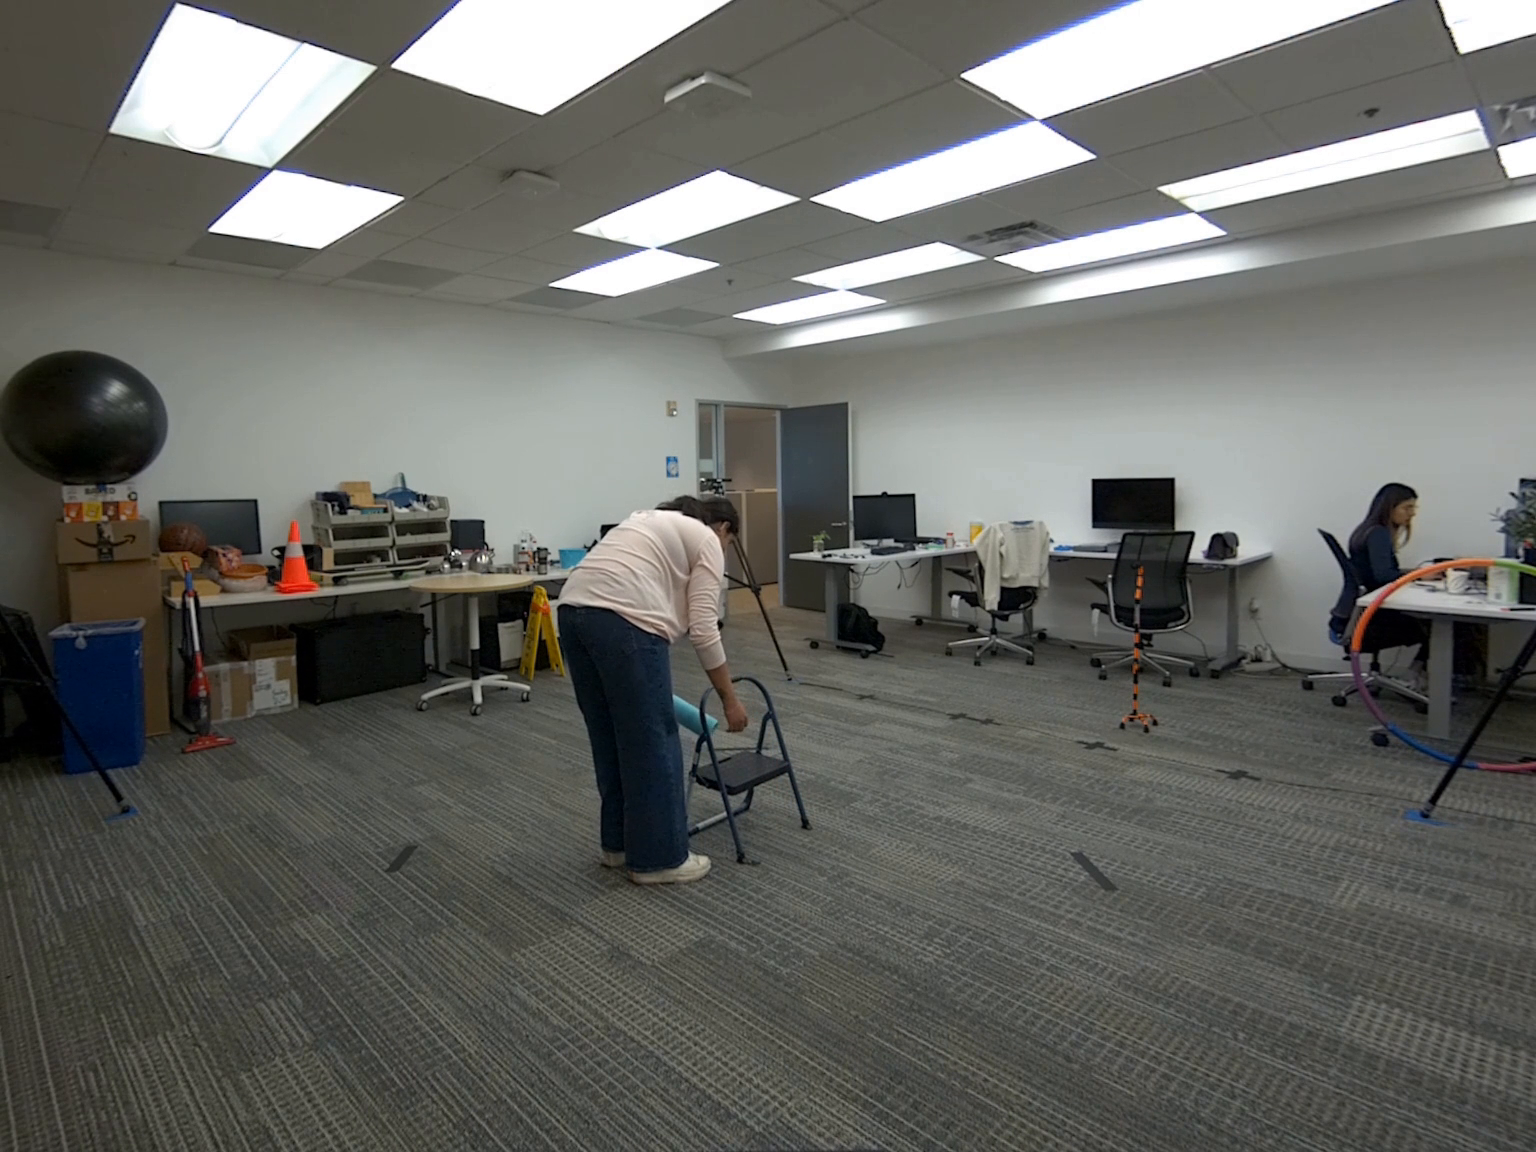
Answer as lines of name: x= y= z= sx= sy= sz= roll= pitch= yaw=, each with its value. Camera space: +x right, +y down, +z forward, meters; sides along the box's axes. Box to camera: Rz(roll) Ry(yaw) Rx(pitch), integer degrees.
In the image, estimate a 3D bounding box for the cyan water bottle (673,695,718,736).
cyan water bottle: x=-0.324 y=0.549 z=3.414 sx=0.290 sy=0.092 sz=0.090 roll=29 pitch=15 yaw=20
